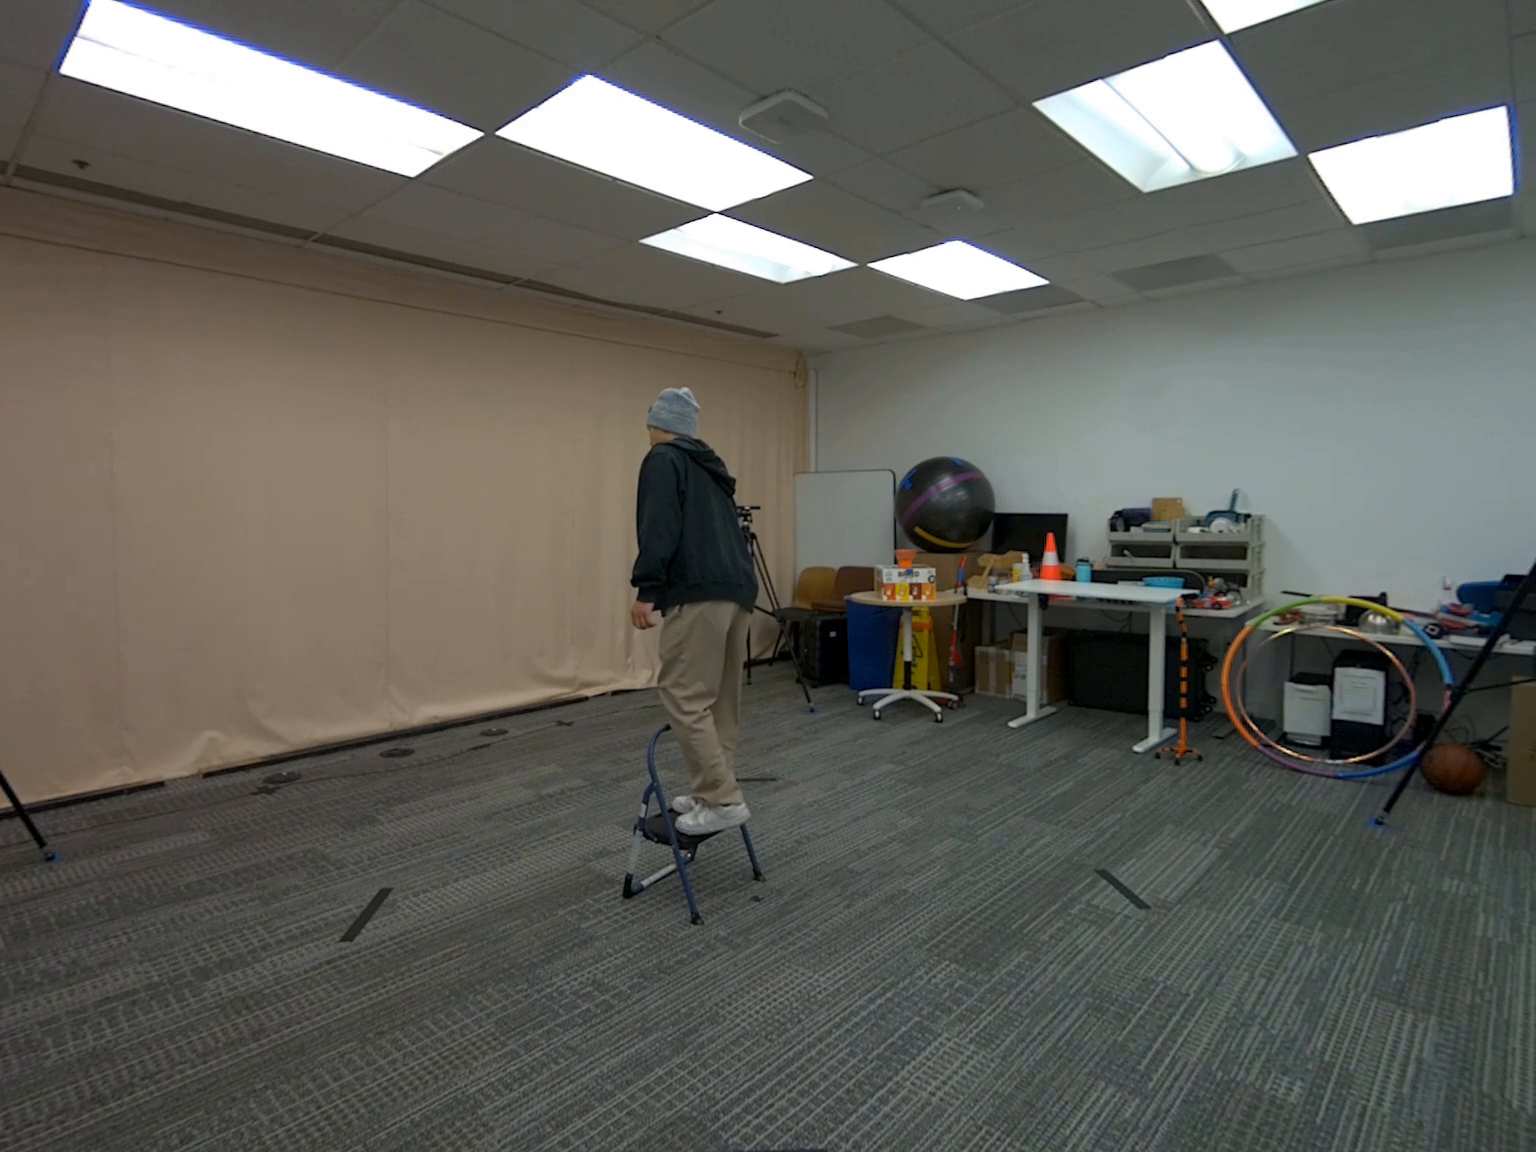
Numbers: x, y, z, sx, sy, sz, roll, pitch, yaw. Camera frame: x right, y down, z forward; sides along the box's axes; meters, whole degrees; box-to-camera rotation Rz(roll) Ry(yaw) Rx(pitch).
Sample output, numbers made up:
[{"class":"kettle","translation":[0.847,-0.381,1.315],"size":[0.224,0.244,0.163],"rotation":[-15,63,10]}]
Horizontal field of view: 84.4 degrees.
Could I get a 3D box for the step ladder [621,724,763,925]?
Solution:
[{"class":"step ladder","translation":[-0.268,0.838,3.055],"size":[0.360,0.605,0.419],"rotation":[1,4,32]}]
